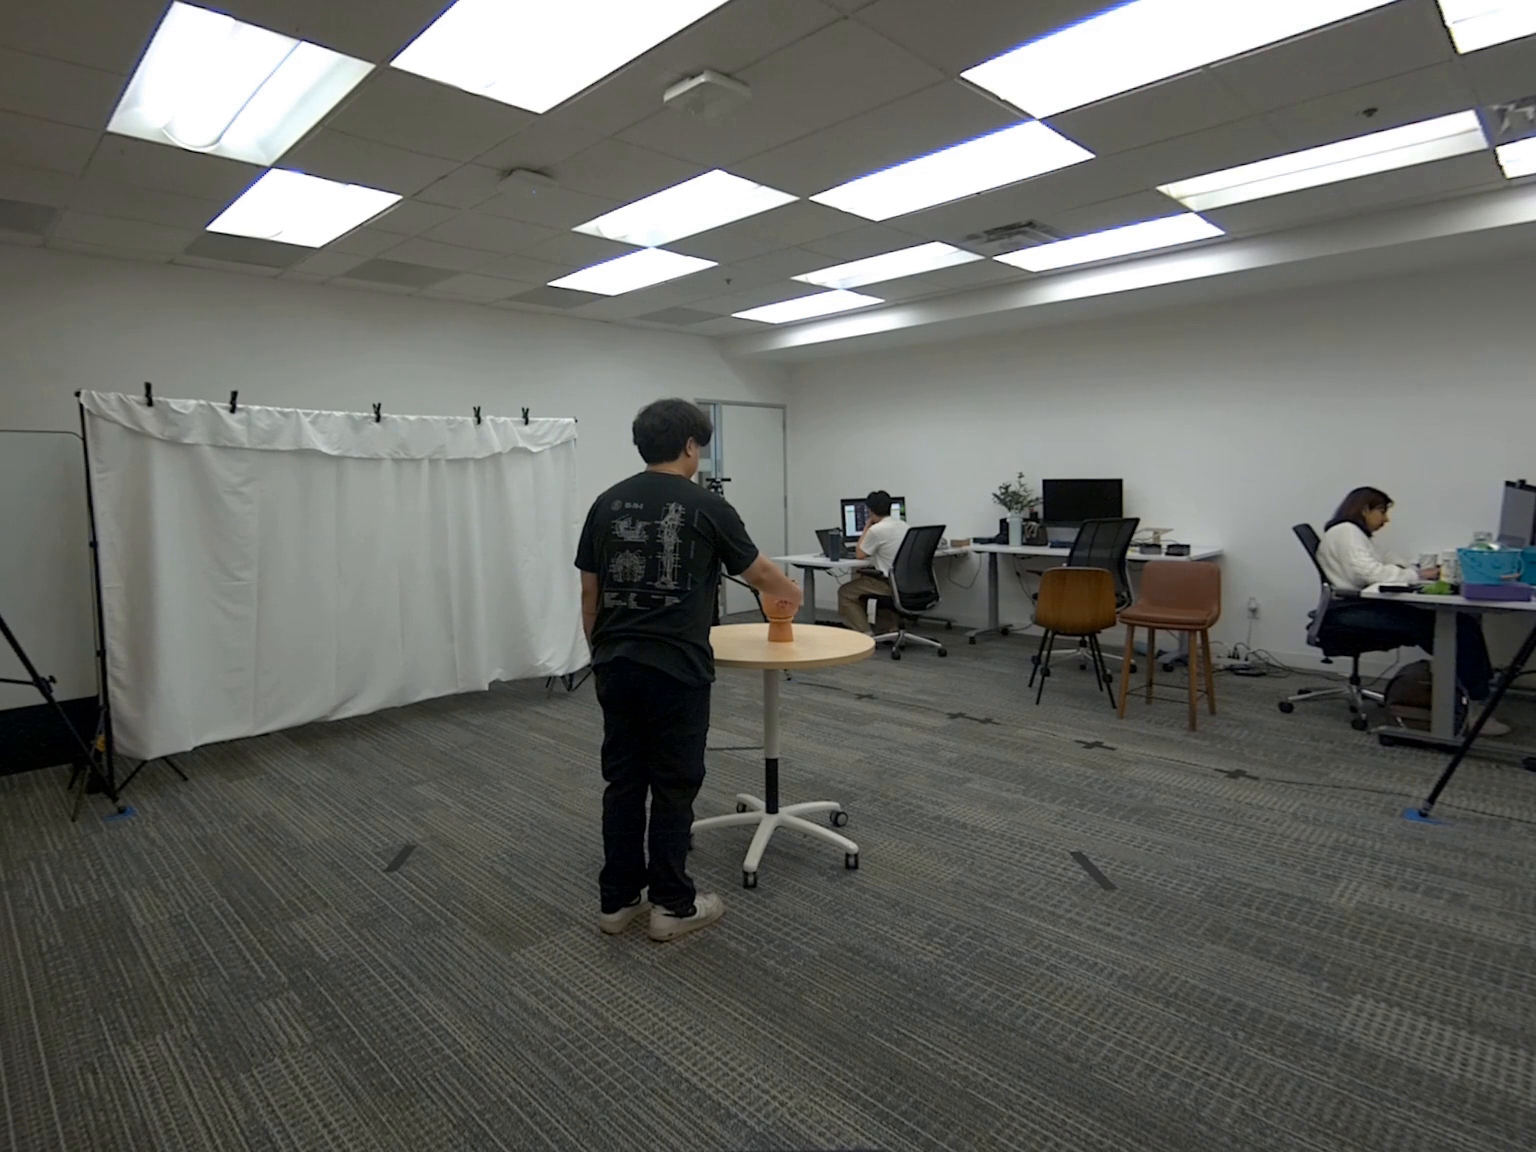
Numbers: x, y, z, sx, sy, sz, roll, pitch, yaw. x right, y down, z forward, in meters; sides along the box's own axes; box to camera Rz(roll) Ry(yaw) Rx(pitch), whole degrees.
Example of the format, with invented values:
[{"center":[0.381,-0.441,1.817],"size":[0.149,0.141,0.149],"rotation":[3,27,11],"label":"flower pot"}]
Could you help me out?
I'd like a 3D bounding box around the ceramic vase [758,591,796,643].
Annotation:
[{"center":[0.053,0.129,3.173],"size":[0.138,0.219,0.156],"rotation":[2,6,27],"label":"ceramic vase"}]
